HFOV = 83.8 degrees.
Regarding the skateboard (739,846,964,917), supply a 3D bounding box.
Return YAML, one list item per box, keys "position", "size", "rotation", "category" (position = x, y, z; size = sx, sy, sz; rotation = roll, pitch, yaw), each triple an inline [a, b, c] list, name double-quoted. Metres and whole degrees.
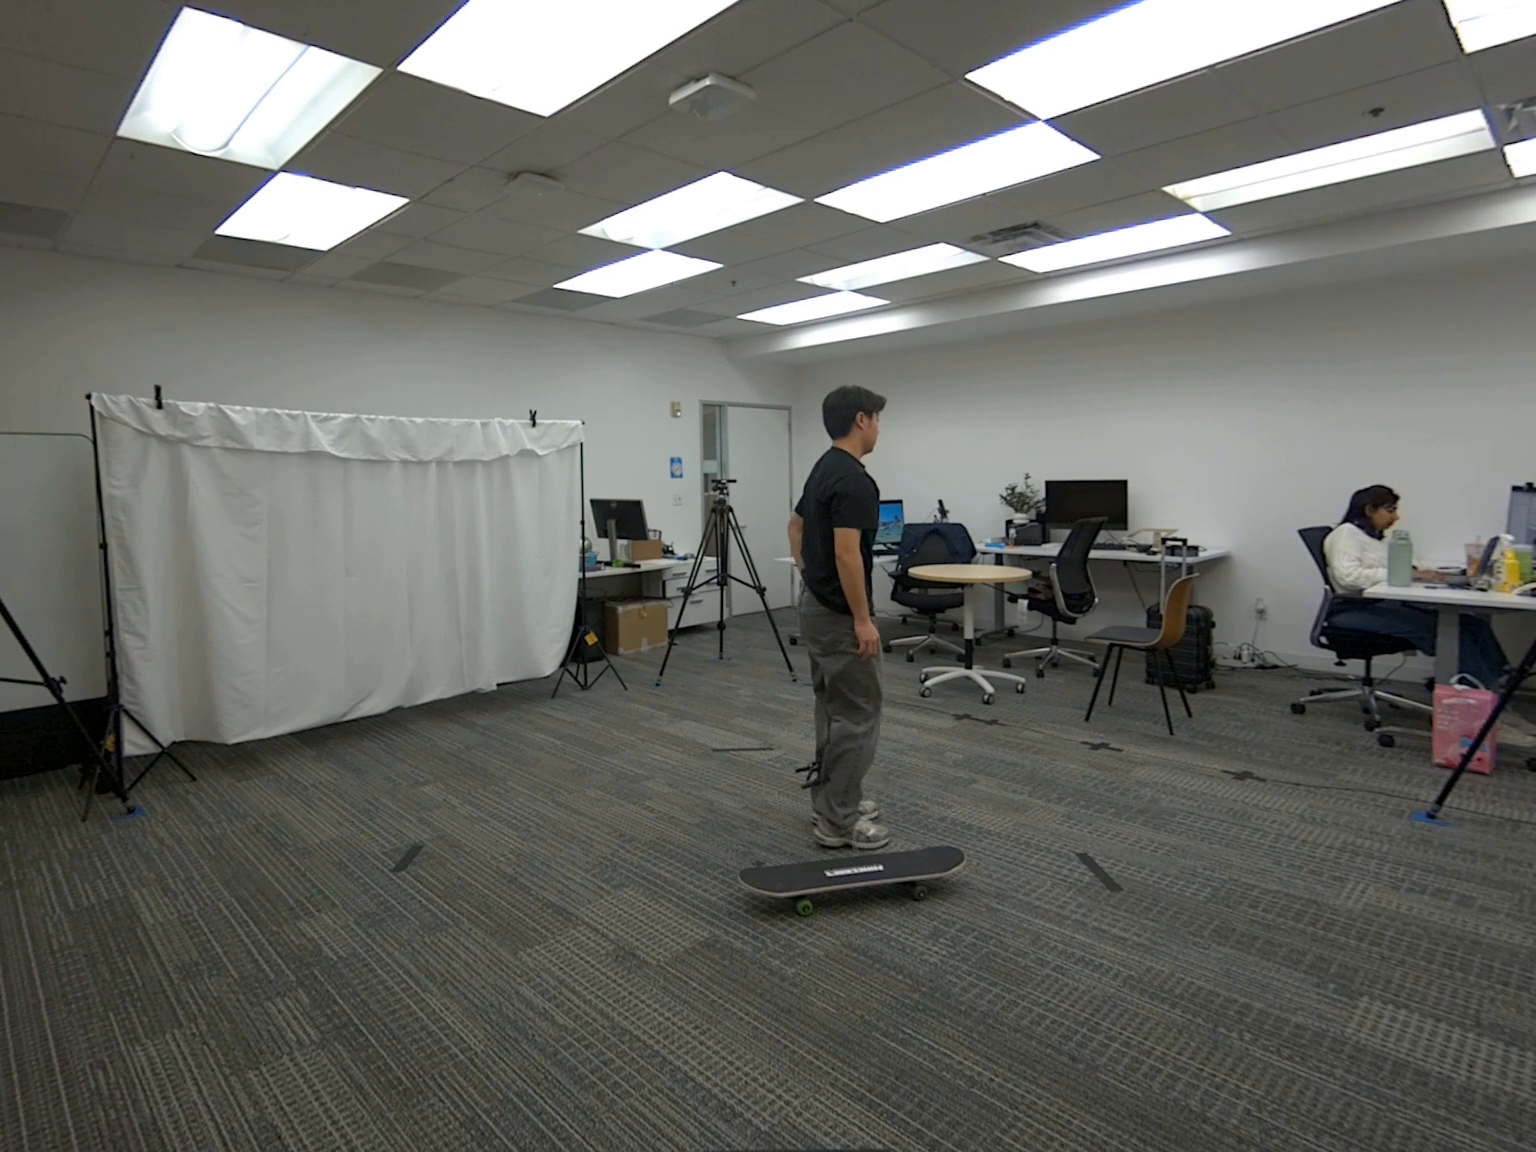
- position: [0.287, 1.008, 2.851]
  size: [0.777, 0.110, 0.196]
  rotation: [-3, 6, -12]
  category: "skateboard"
